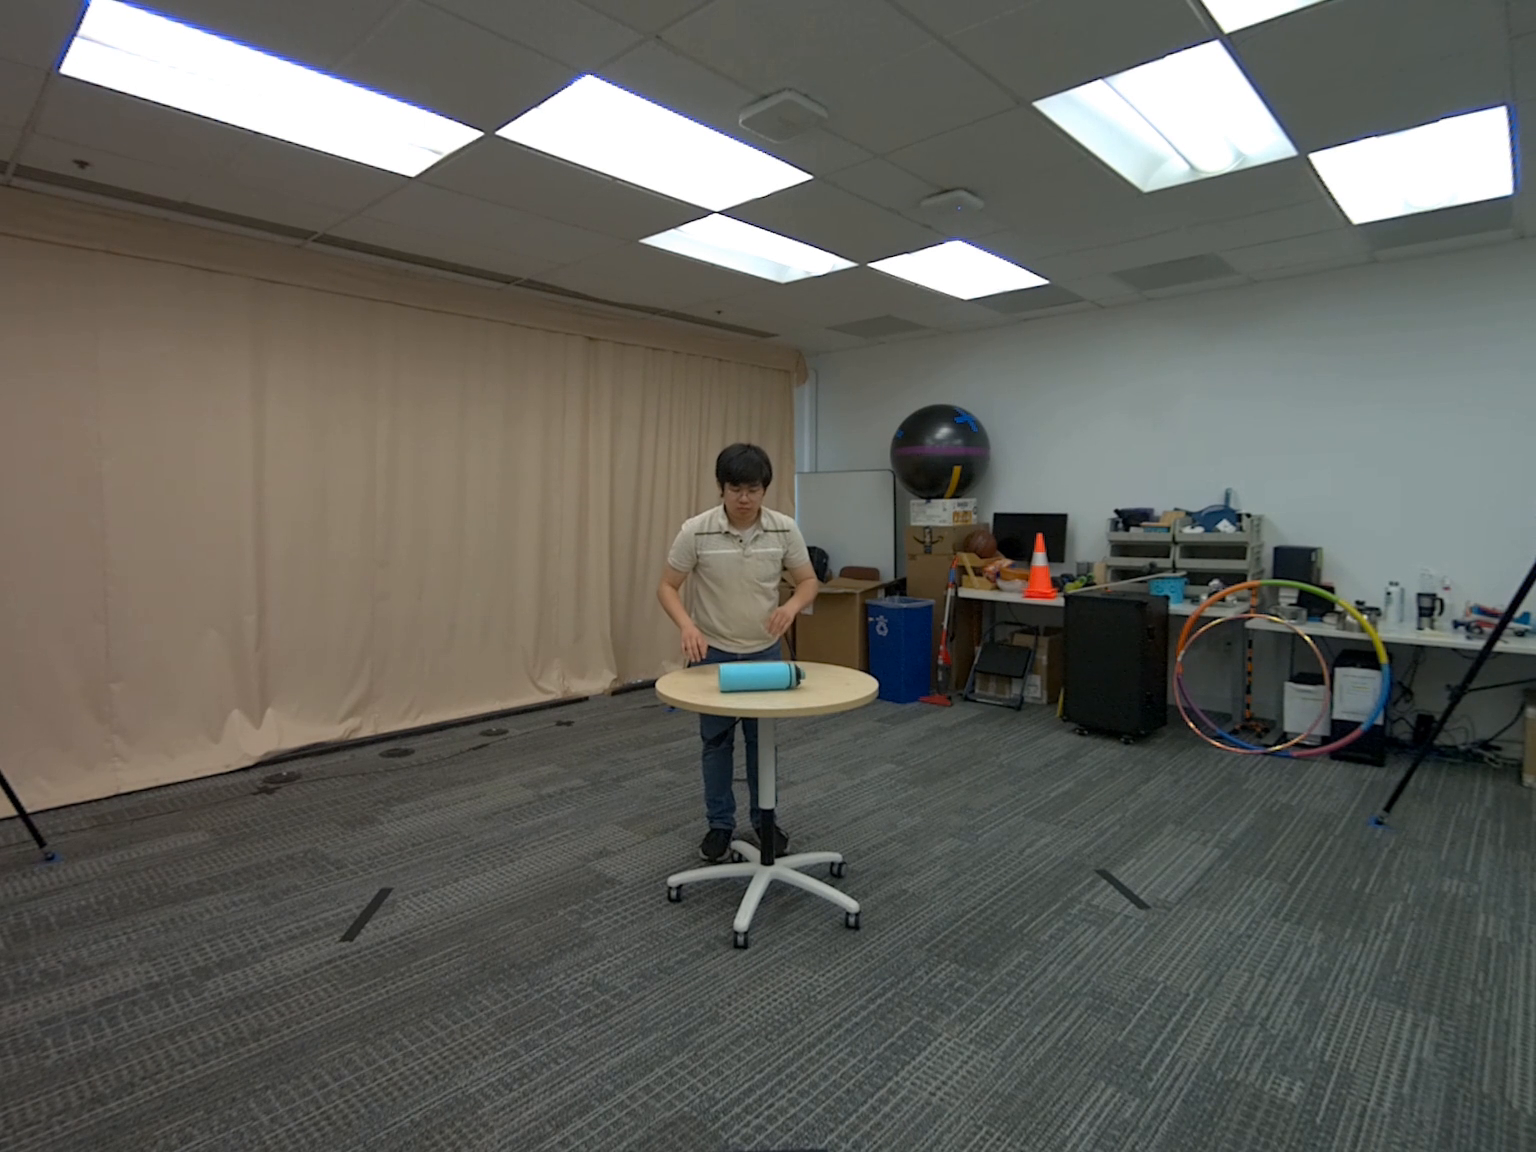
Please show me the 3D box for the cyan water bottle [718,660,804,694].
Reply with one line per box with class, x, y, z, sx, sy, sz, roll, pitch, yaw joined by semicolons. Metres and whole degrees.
cyan water bottle;-0.020;0.330;2.788;0.282;0.092;0.093;-1;4;-5
